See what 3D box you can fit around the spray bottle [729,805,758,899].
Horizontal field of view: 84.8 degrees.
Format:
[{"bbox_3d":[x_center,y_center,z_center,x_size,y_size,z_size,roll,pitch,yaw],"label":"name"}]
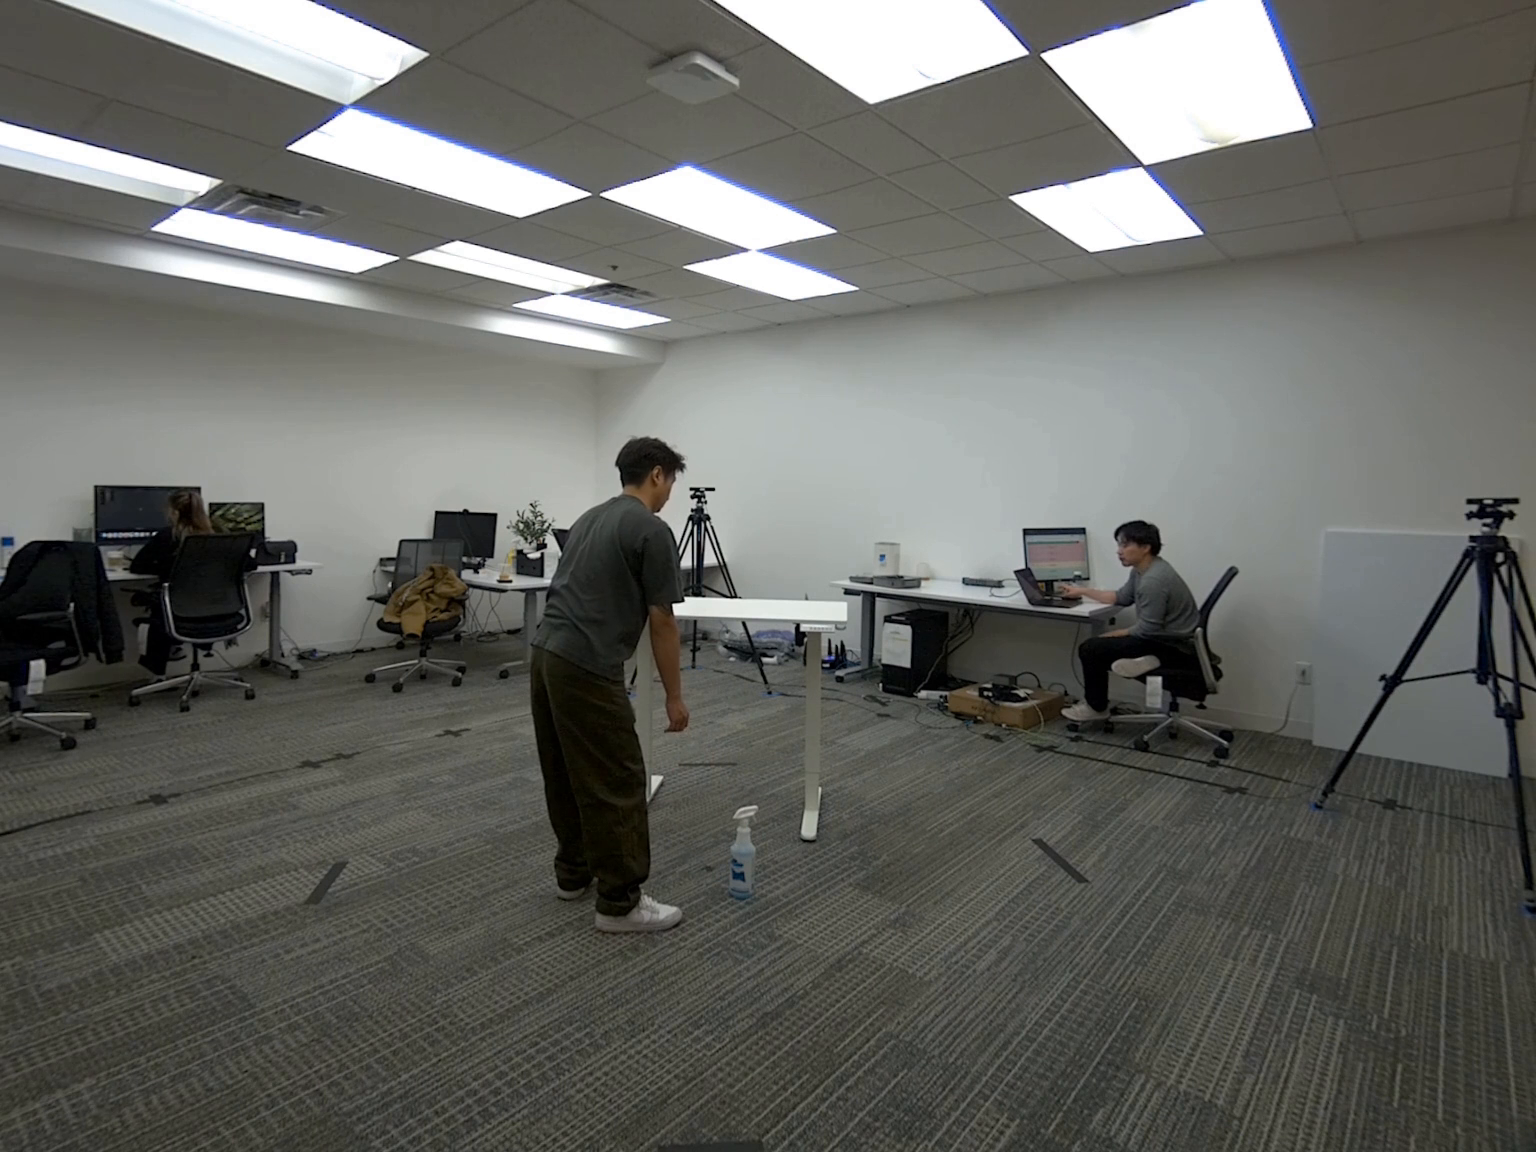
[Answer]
[{"bbox_3d":[-0.093,0.945,2.913,0.089,0.297,0.087,3,1,-5],"label":"spray bottle"}]
